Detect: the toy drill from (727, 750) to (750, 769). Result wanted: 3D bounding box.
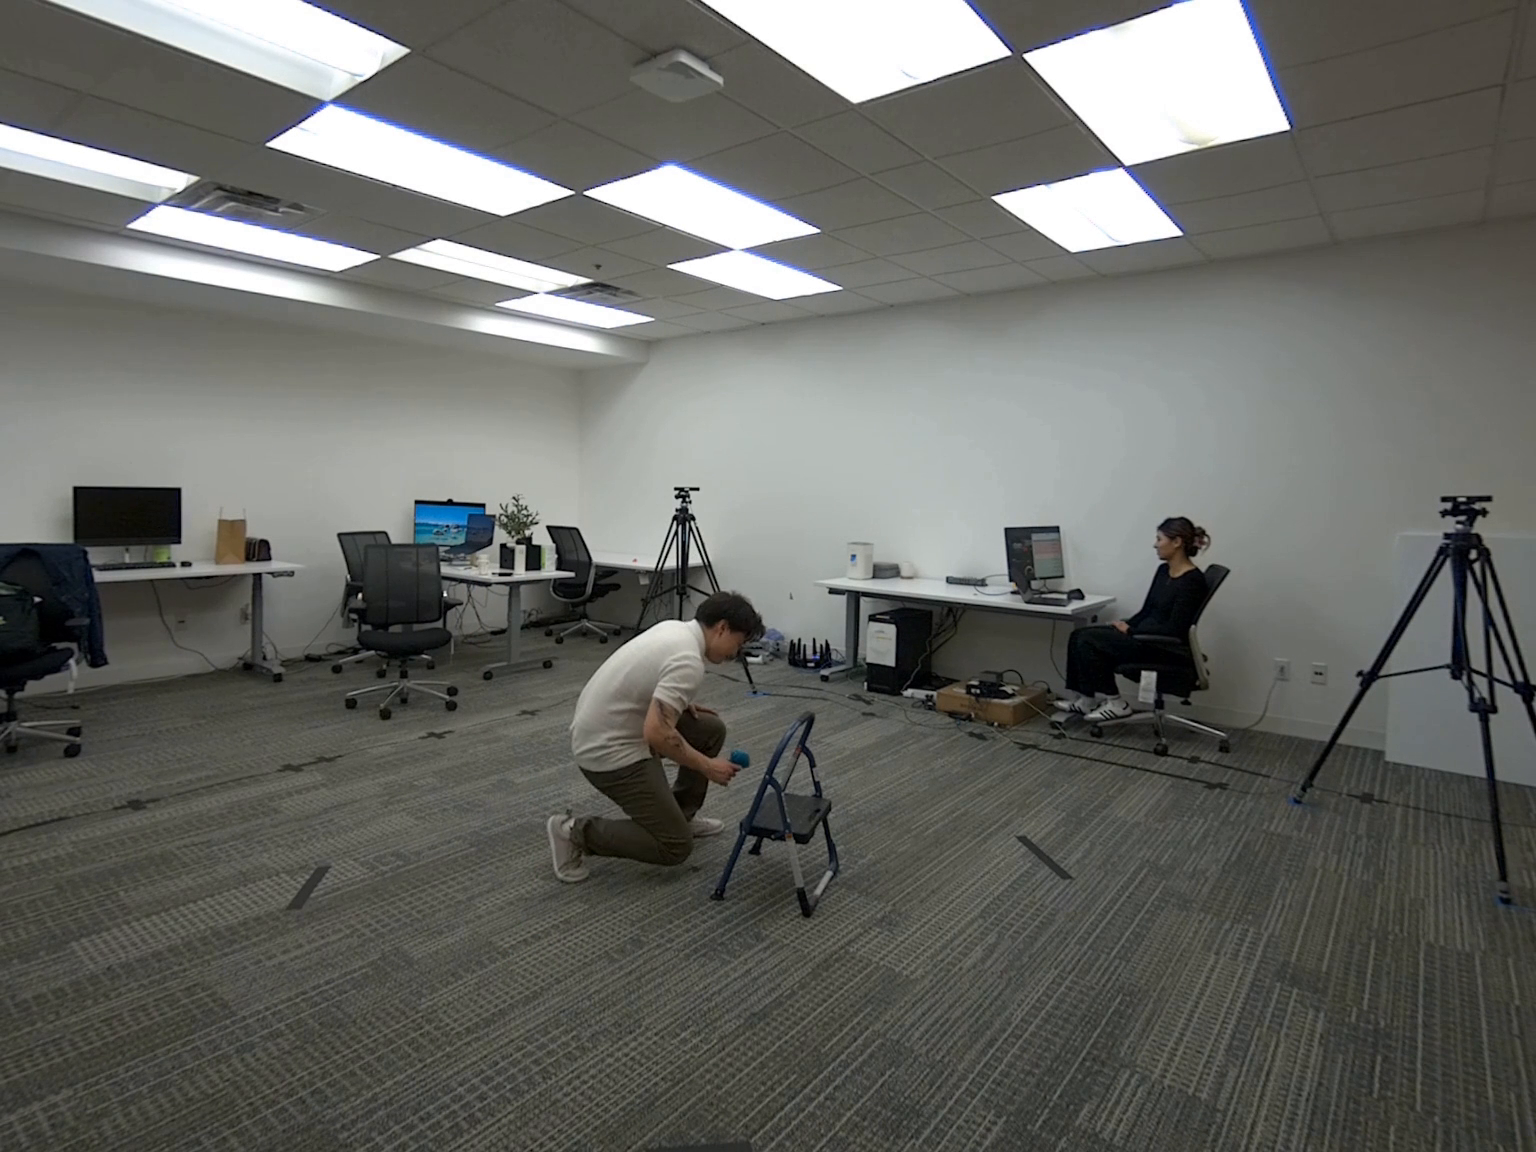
[{"bbox_3d":[-0.134,0.685,3.043,0.146,0.163,0.064,-37,41,-7],"label":"toy drill"}]
